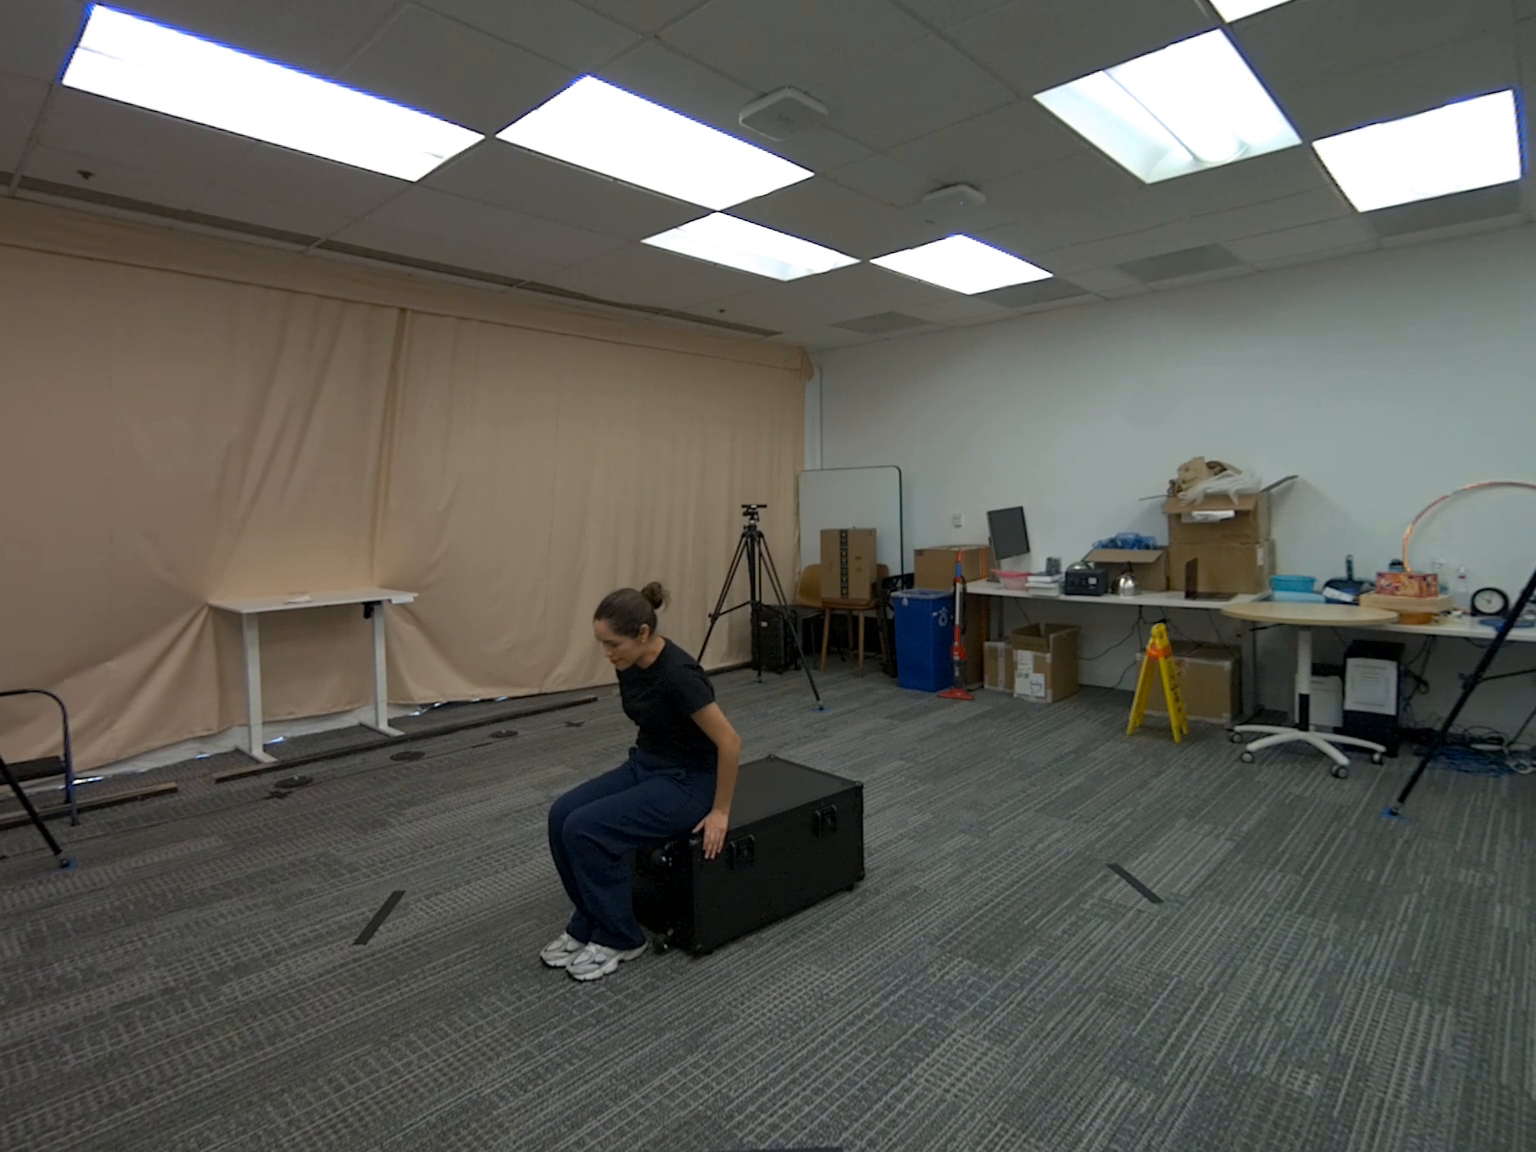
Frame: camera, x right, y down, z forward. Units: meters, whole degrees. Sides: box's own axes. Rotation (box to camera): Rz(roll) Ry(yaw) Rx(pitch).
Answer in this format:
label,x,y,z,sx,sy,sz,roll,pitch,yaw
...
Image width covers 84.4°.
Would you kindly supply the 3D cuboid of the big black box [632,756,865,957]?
label,x,y,z,sx,sy,sz,roll,pitch,yaw
big black box,-0.060,0.953,3.002,0.836,0.395,0.538,-7,8,-41
